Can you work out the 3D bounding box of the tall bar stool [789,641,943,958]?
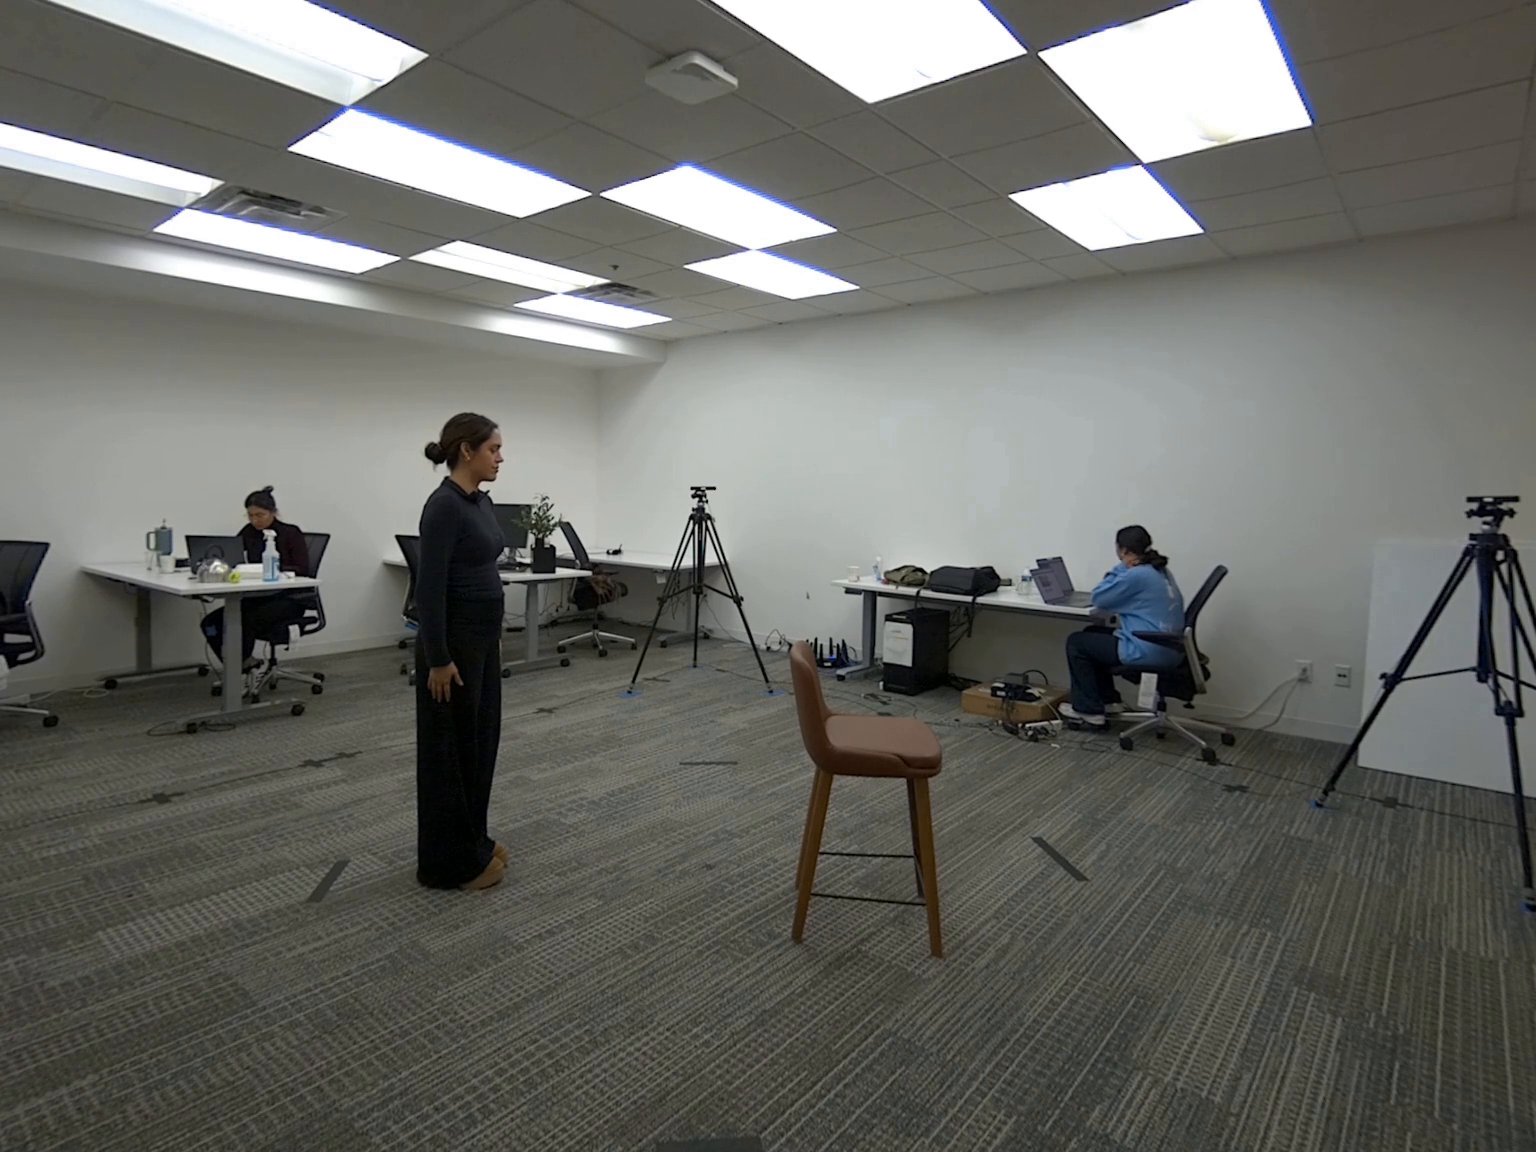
[{"bbox_3d":[0.306,0.677,2.746,0.471,0.887,0.454,0,3,6],"label":"tall bar stool"}]
